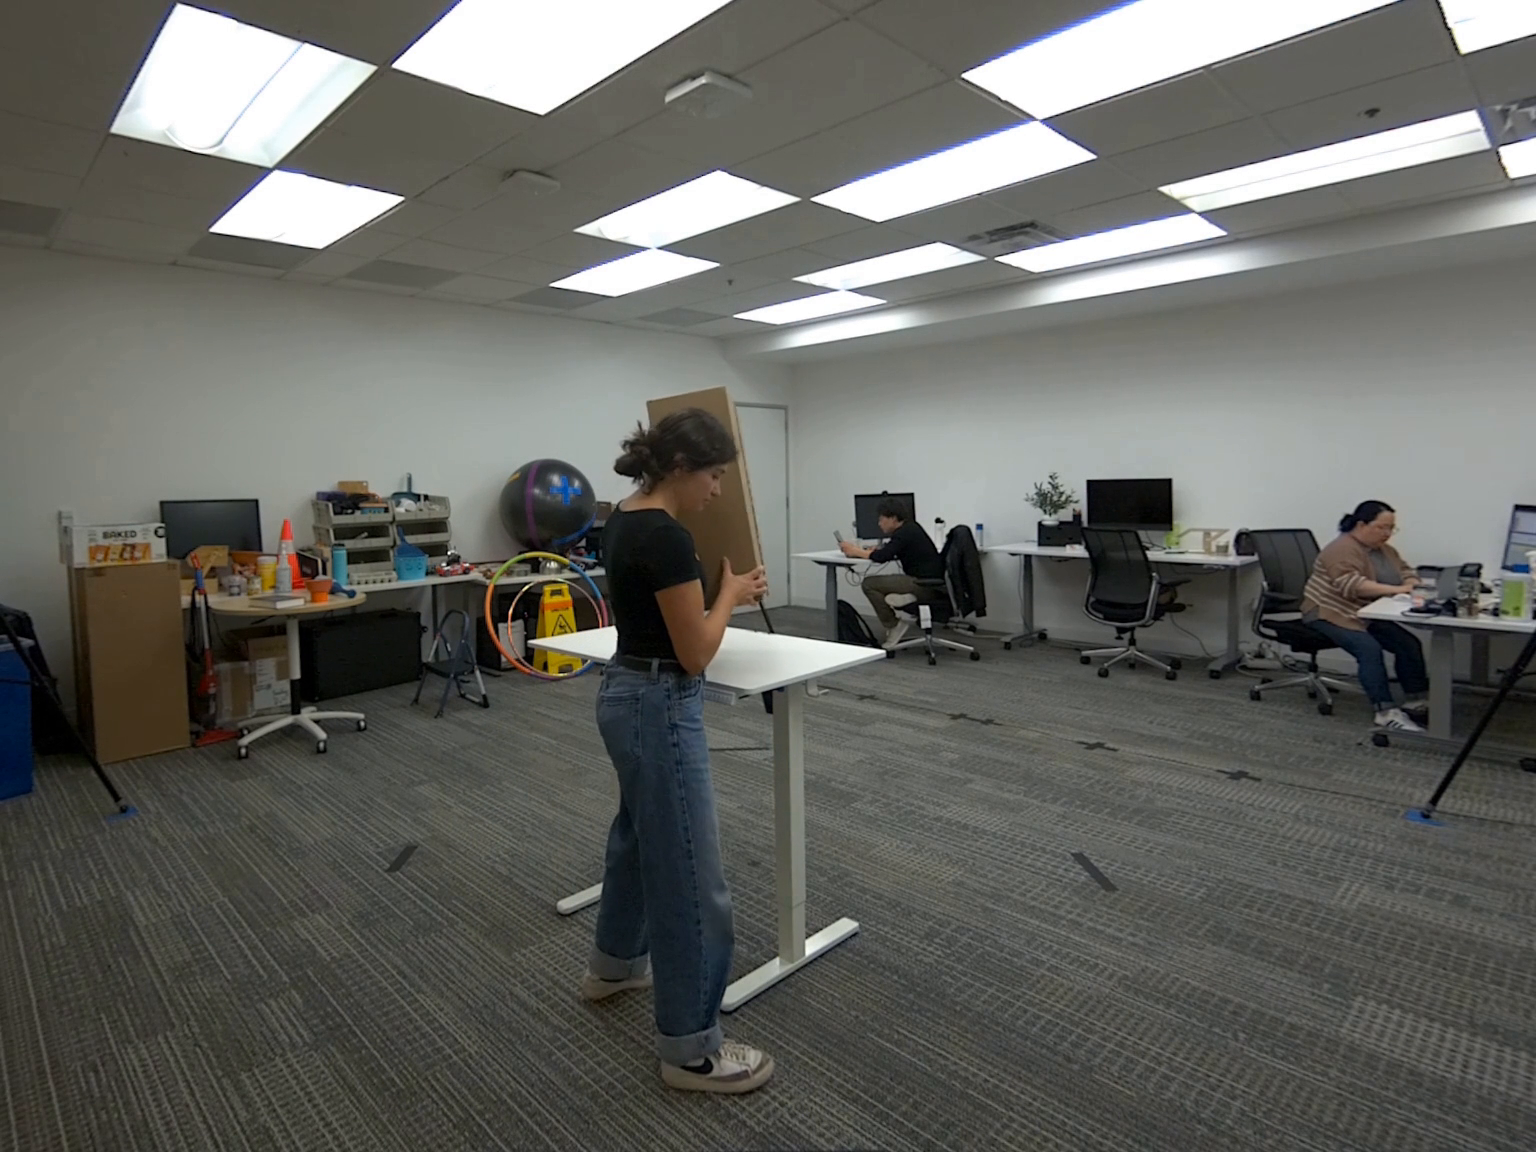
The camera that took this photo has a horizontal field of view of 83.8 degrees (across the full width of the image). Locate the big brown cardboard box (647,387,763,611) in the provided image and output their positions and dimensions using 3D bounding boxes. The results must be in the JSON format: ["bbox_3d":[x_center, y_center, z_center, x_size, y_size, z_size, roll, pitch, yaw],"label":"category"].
[{"bbox_3d":[-0.148,-0.200,2.400,0.233,0.591,0.415,-9,-3,1],"label":"big brown cardboard box"}]
